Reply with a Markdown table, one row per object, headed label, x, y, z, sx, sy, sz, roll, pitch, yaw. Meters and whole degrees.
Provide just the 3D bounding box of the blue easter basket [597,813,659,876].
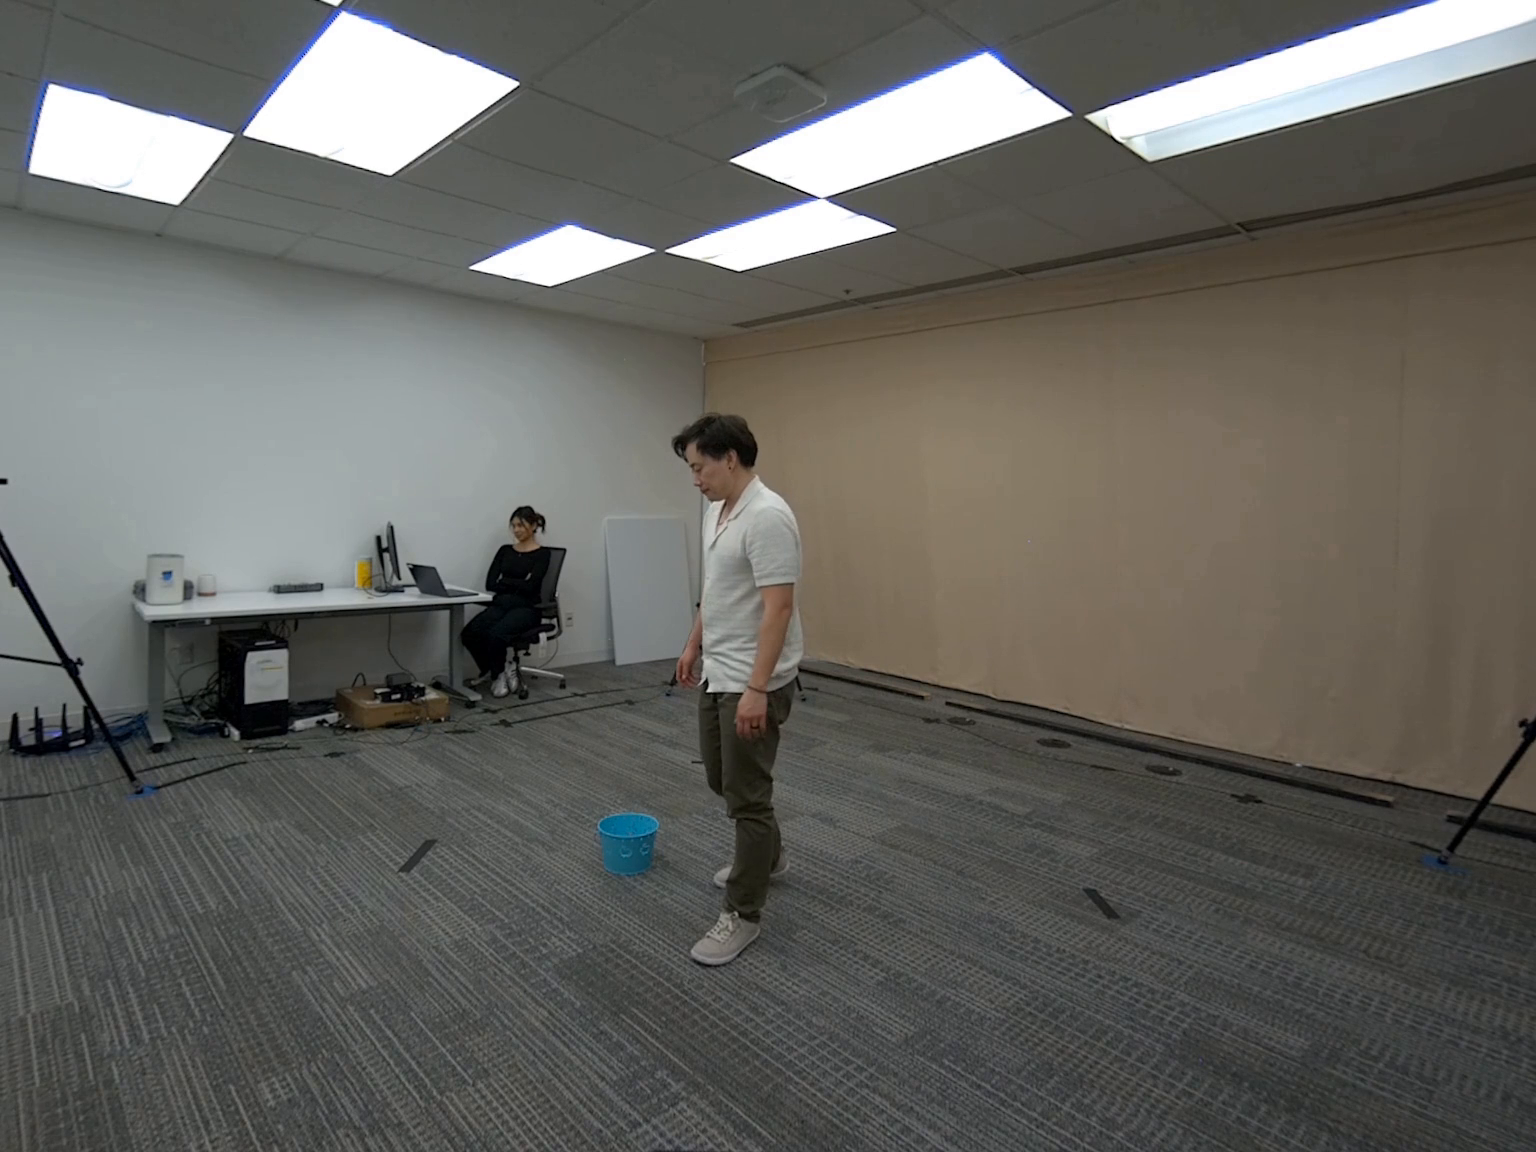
| label | x | y | z | sx | sy | sz | roll | pitch | yaw |
| --- | --- | --- | --- | --- | --- | --- | --- | --- | --- |
| blue easter basket | -0.536 | 1.014 | 3.186 | 0.243 | 0.155 | 0.244 | 2 | 5 | -2 |
